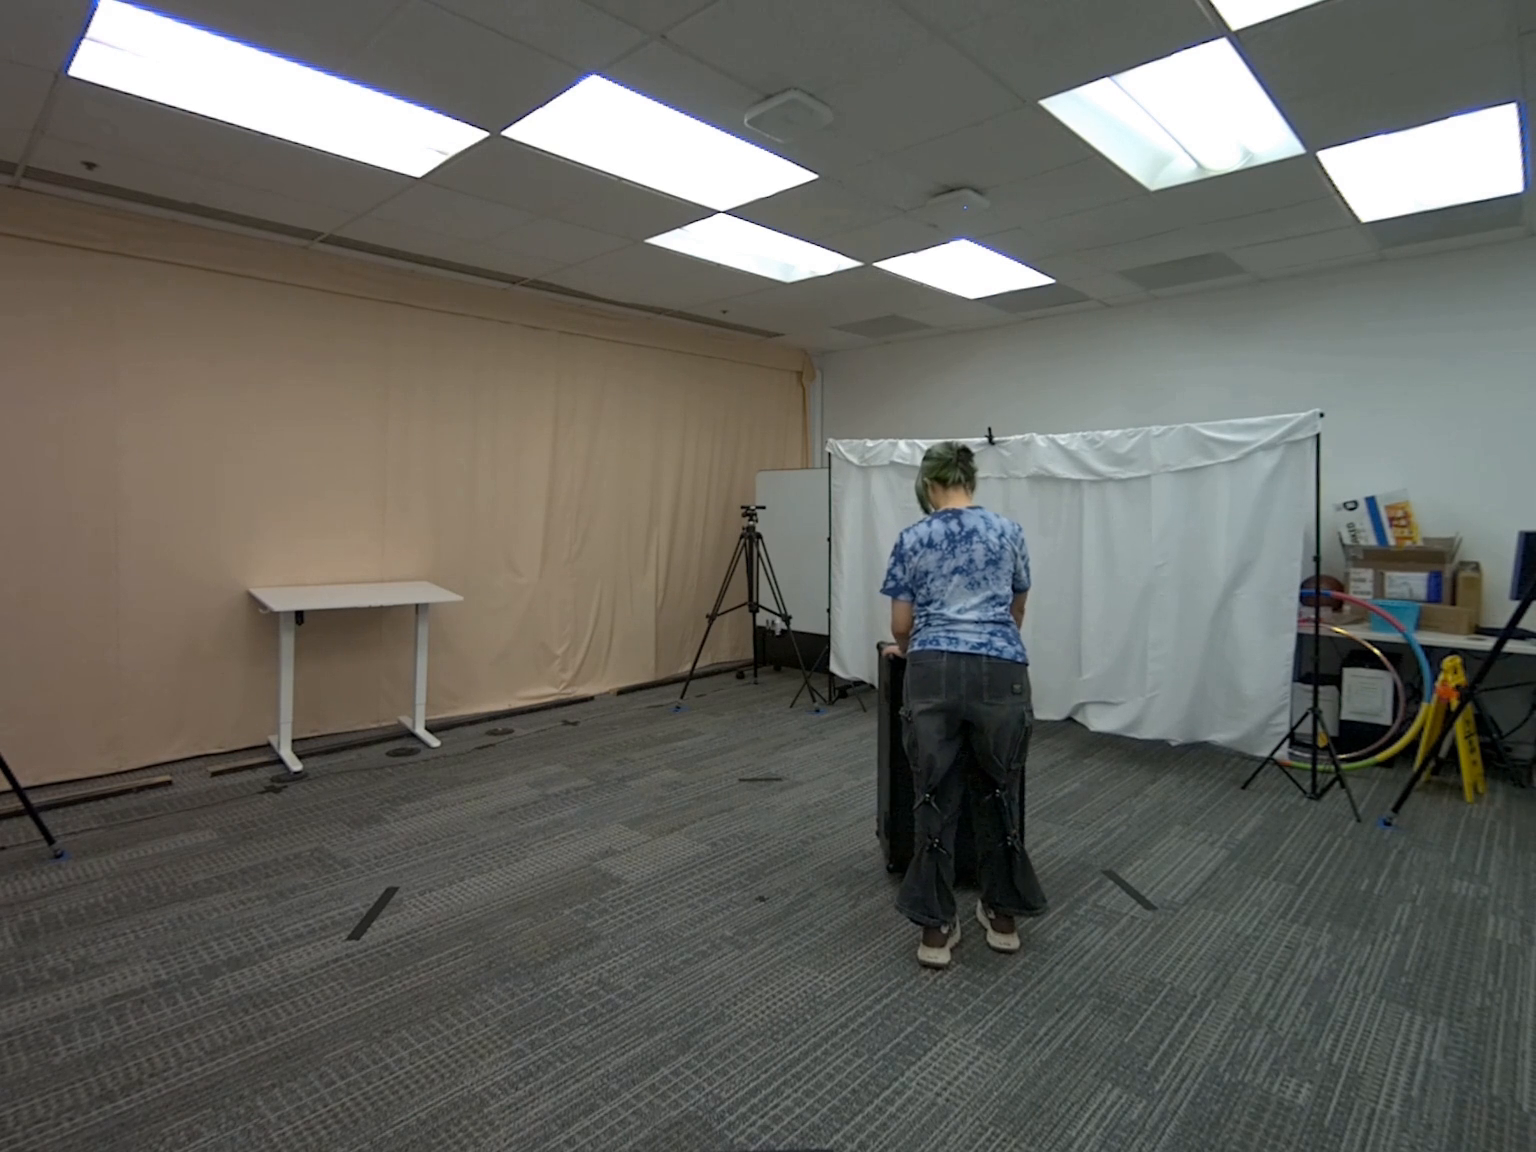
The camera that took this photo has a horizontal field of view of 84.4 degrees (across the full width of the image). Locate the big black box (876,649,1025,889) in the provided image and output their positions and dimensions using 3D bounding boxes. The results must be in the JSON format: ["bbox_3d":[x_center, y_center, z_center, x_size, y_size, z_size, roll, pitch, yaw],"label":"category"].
[{"bbox_3d":[0.676,0.705,3.184,0.523,0.861,0.395,0,1,3],"label":"big black box"}]
